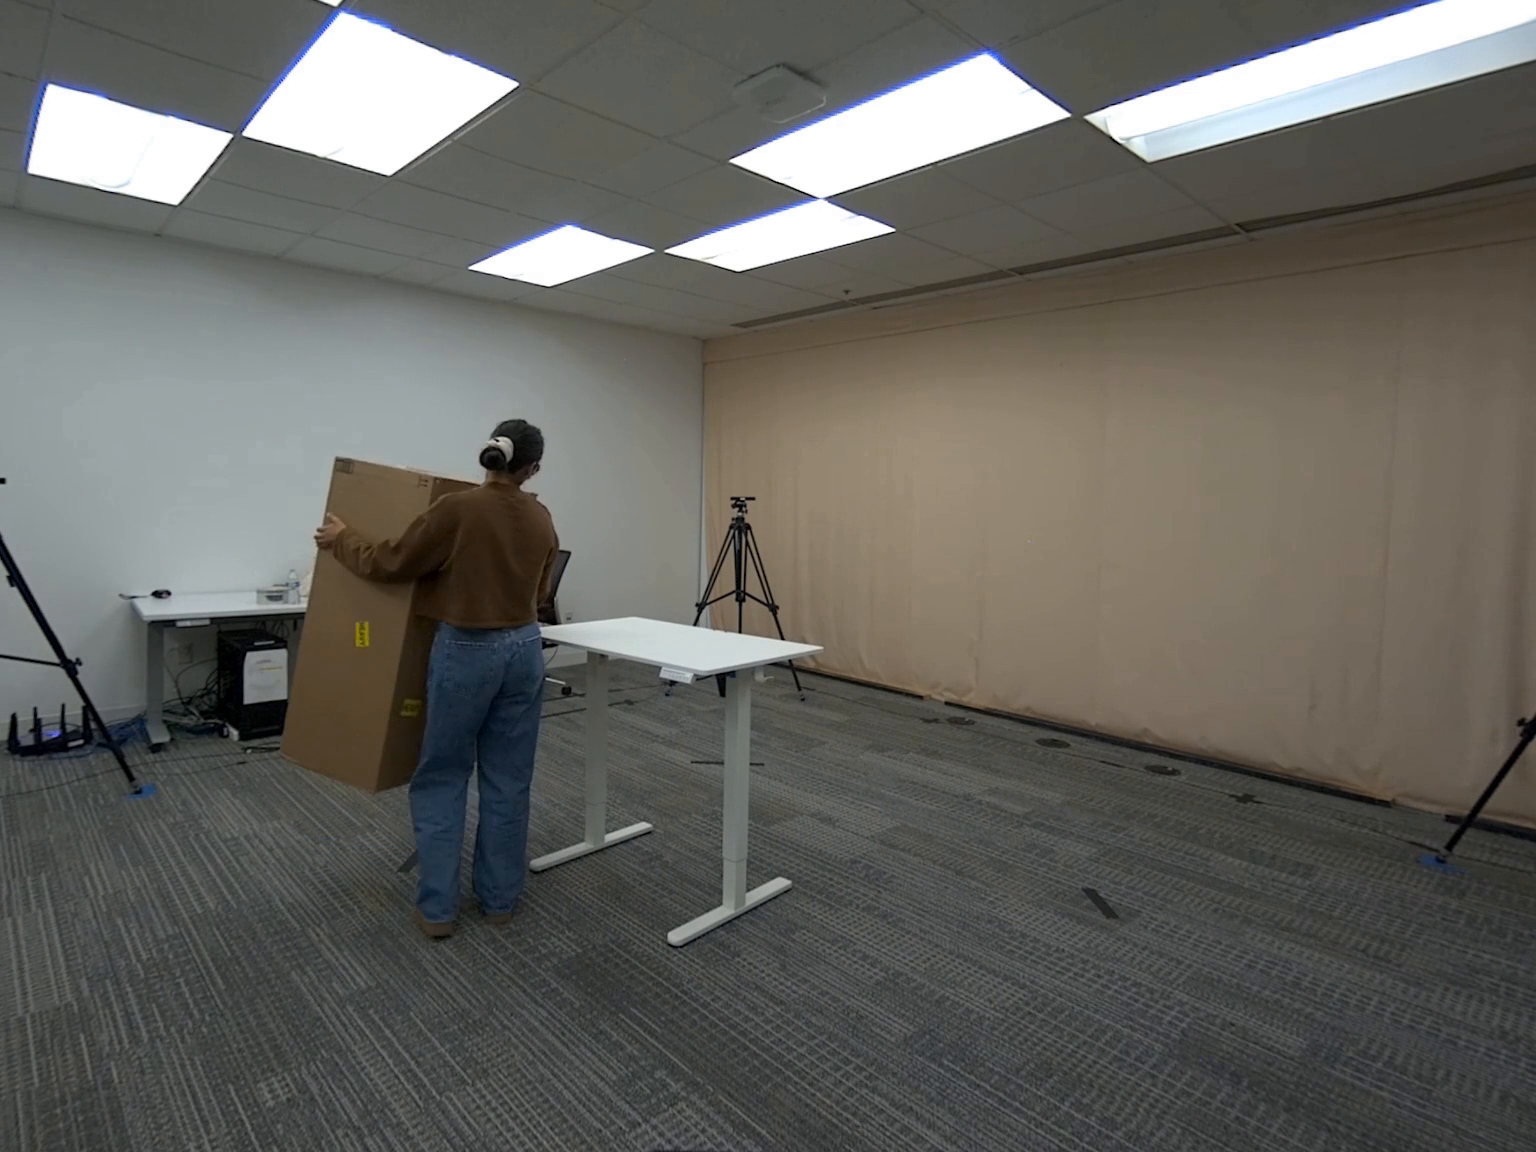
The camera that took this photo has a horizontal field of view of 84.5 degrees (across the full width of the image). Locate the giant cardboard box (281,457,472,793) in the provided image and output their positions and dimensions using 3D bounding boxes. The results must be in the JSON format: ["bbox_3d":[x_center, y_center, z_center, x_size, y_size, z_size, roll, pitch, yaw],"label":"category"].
[{"bbox_3d":[-1.252,0.147,2.978,0.434,1.024,0.568,12,2,20],"label":"giant cardboard box"}]
